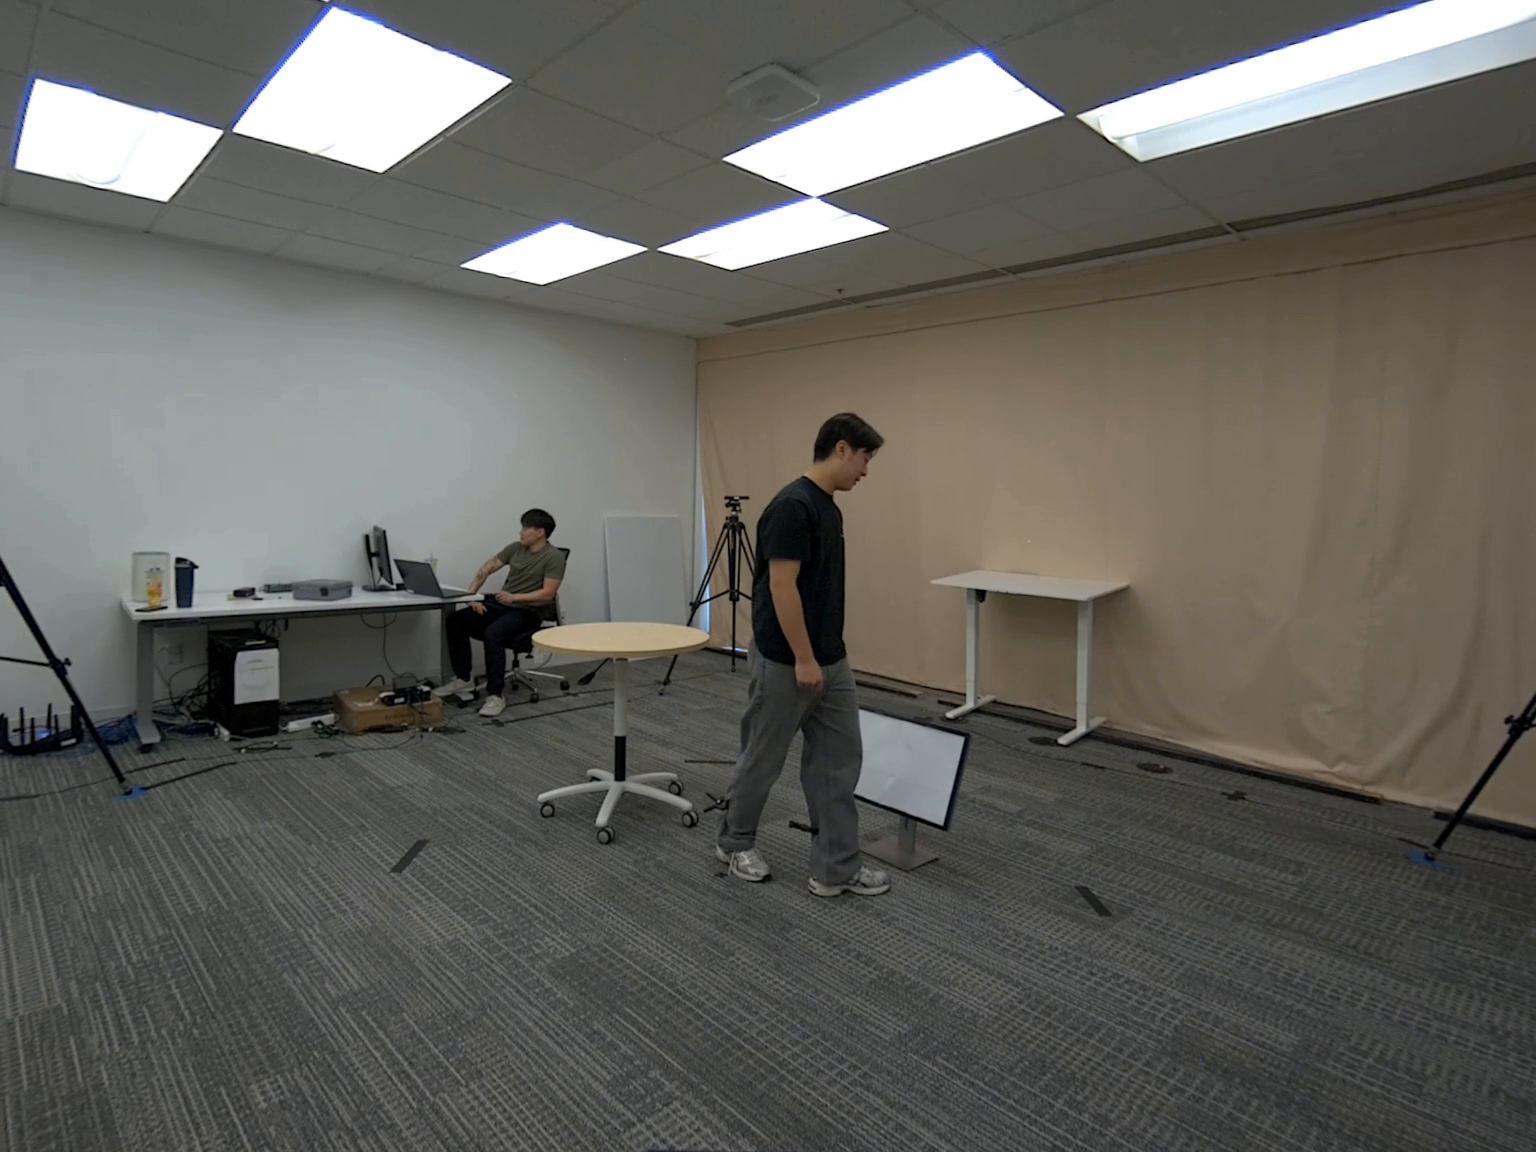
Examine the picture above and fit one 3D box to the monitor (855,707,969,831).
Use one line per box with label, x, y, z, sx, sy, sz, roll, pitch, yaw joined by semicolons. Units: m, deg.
monitor;0.518;0.835;3.305;0.217;0.564;0.576;-1;5;-40
